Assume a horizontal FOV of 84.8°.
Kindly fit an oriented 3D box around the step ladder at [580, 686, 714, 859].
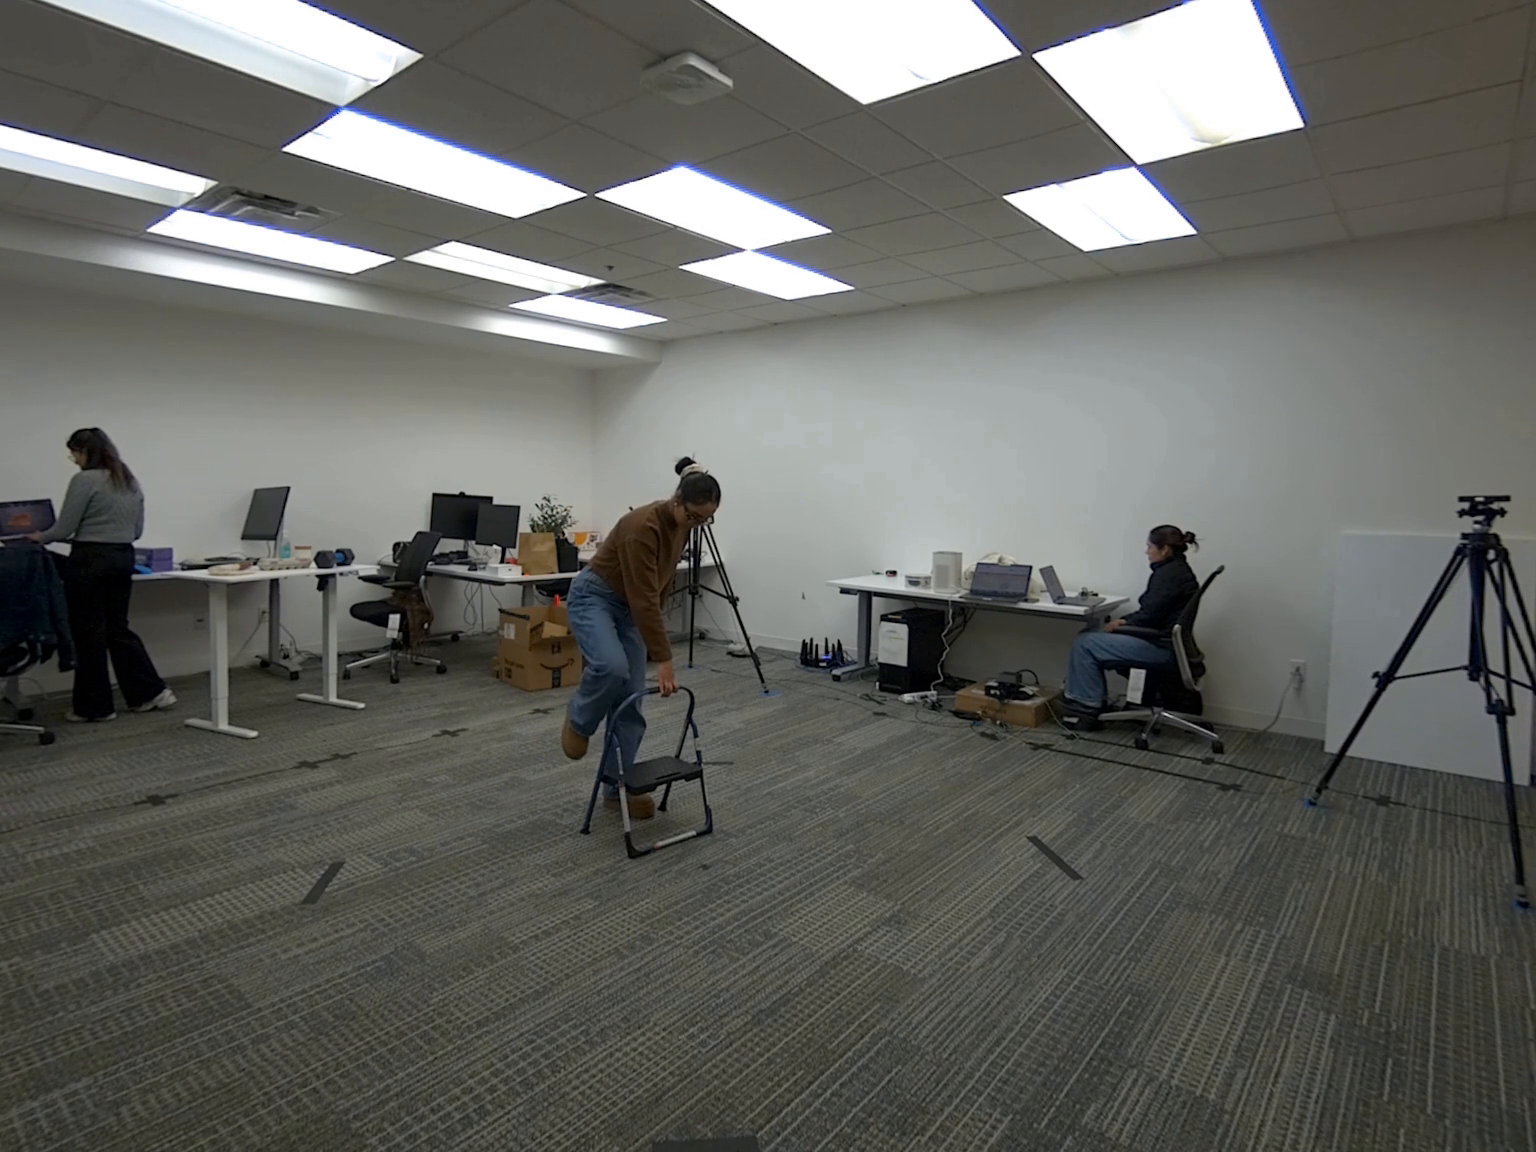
[{"bbox_3d":[-0.492,0.730,3.415,0.417,0.604,0.361,-2,5,-44],"label":"step ladder"}]
